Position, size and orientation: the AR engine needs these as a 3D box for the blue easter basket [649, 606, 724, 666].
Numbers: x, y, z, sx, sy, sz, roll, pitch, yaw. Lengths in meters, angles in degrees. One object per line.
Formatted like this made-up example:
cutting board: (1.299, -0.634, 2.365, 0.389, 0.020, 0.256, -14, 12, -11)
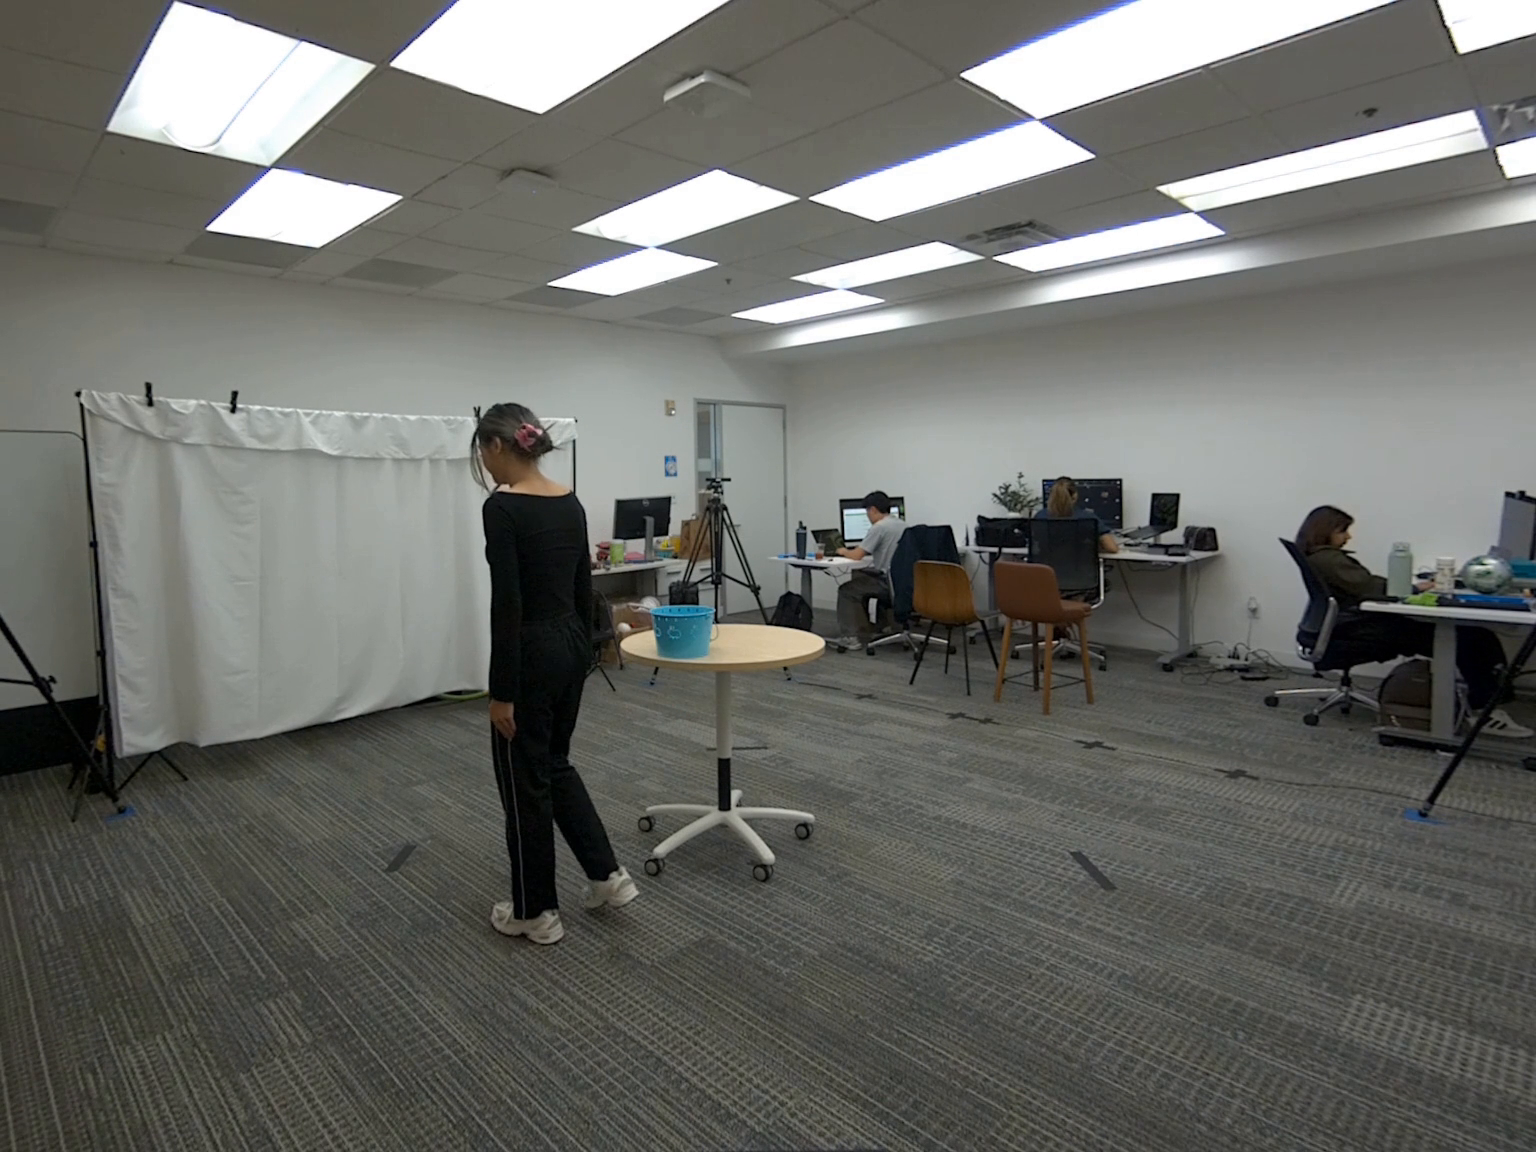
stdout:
blue easter basket: (-0.281, 0.203, 2.979, 0.243, 0.155, 0.245, -2, 7, -2)
